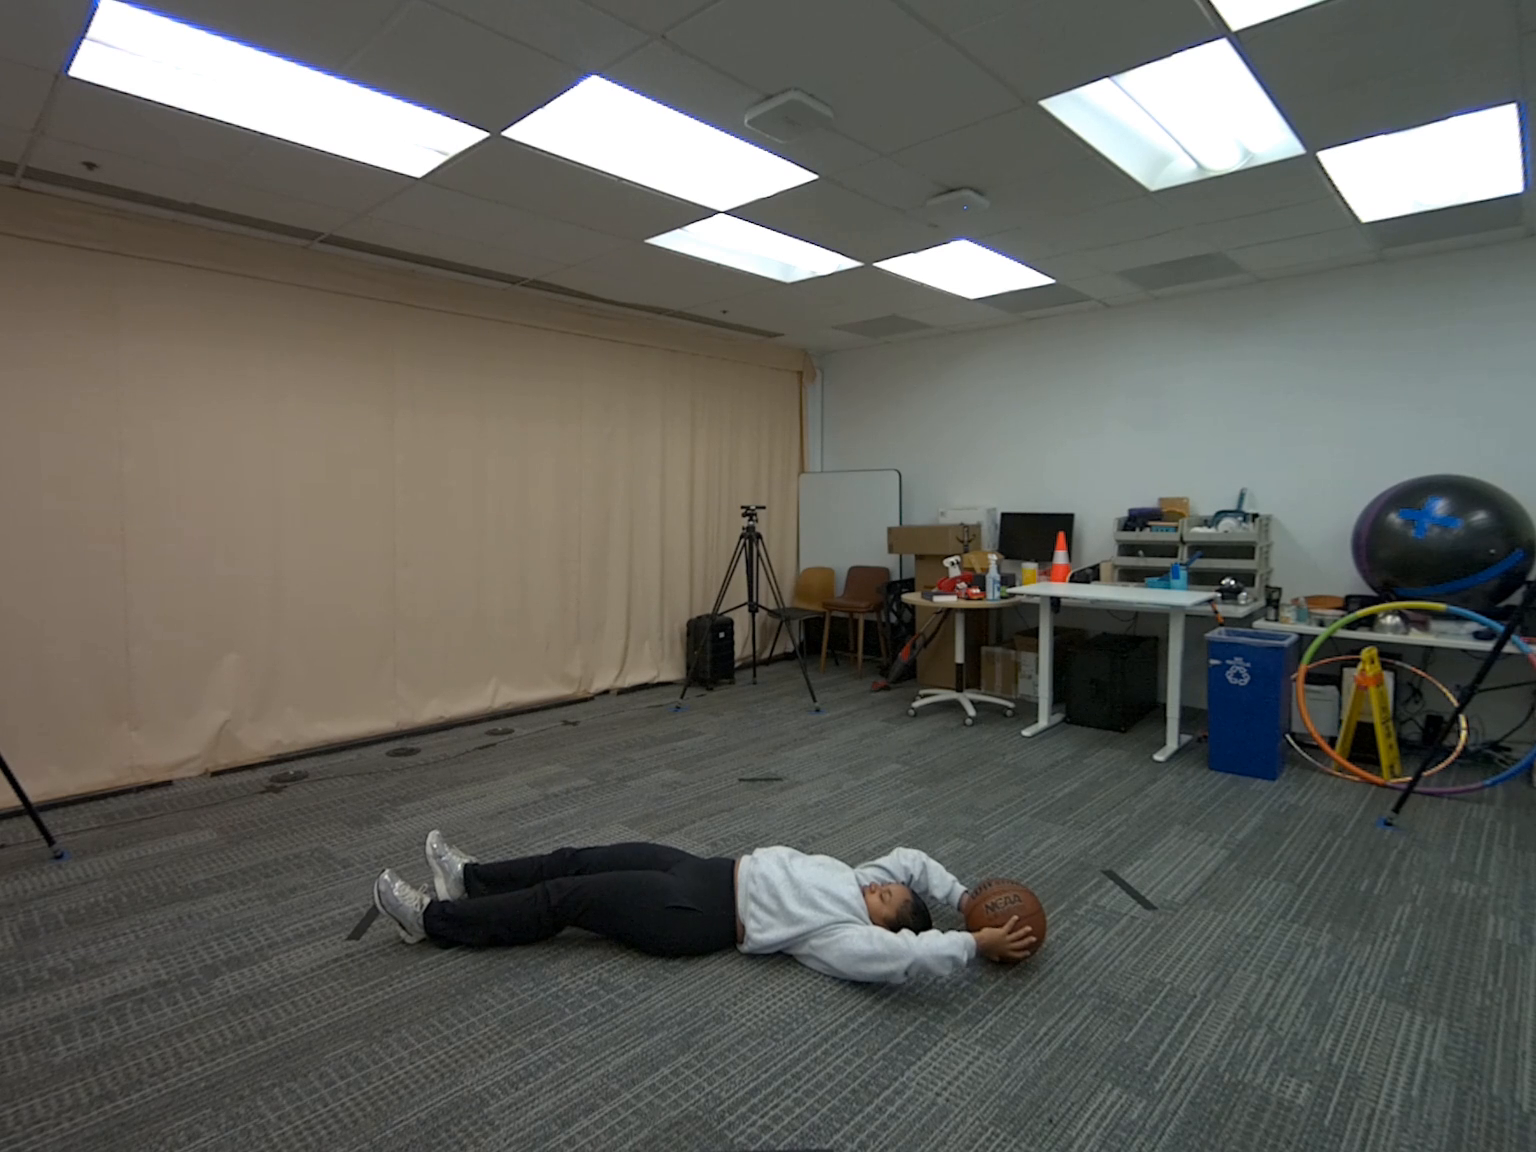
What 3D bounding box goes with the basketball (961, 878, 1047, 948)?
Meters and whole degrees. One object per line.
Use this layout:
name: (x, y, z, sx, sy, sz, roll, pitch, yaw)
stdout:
basketball: (0.738, 1.052, 2.580, 0.235, 0.235, 0.237, 1, 4, -2)
